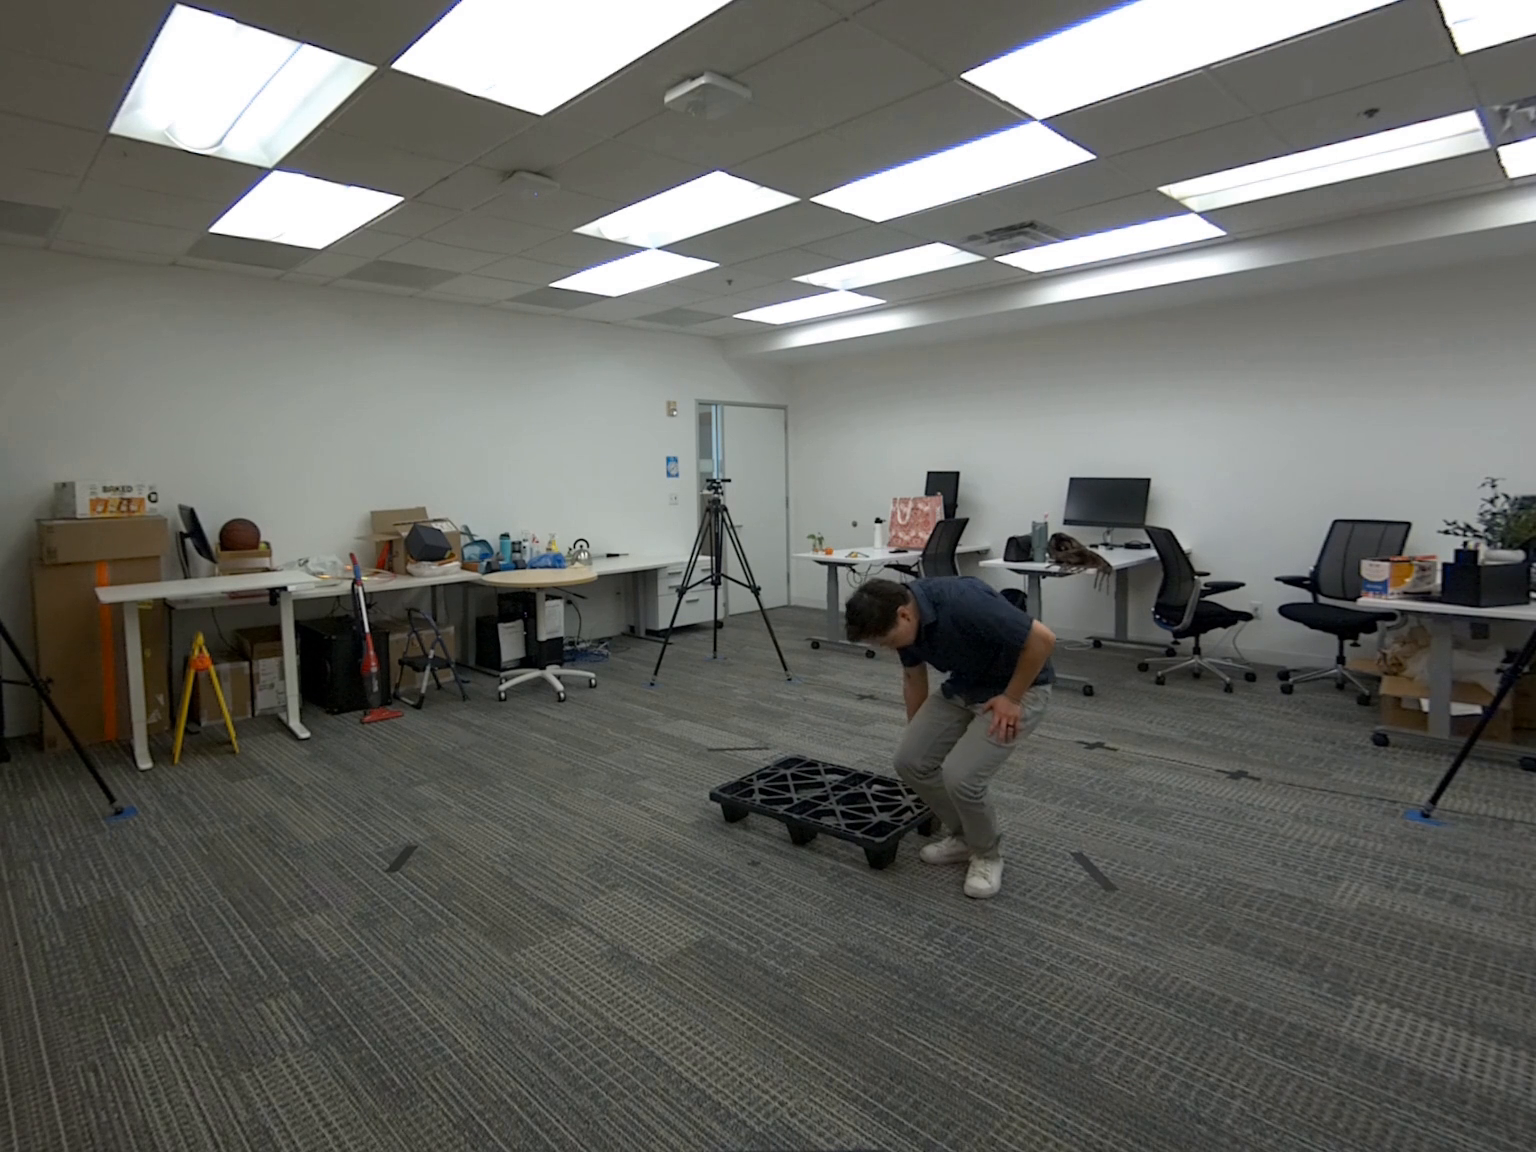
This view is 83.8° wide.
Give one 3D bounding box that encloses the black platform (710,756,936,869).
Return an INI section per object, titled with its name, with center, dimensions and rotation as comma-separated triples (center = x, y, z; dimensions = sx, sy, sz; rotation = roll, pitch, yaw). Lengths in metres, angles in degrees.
[black platform]
center = 0.250, 0.935, 3.446
dimensions = 0.830, 0.143, 0.589
rotation = 4, 7, 39
